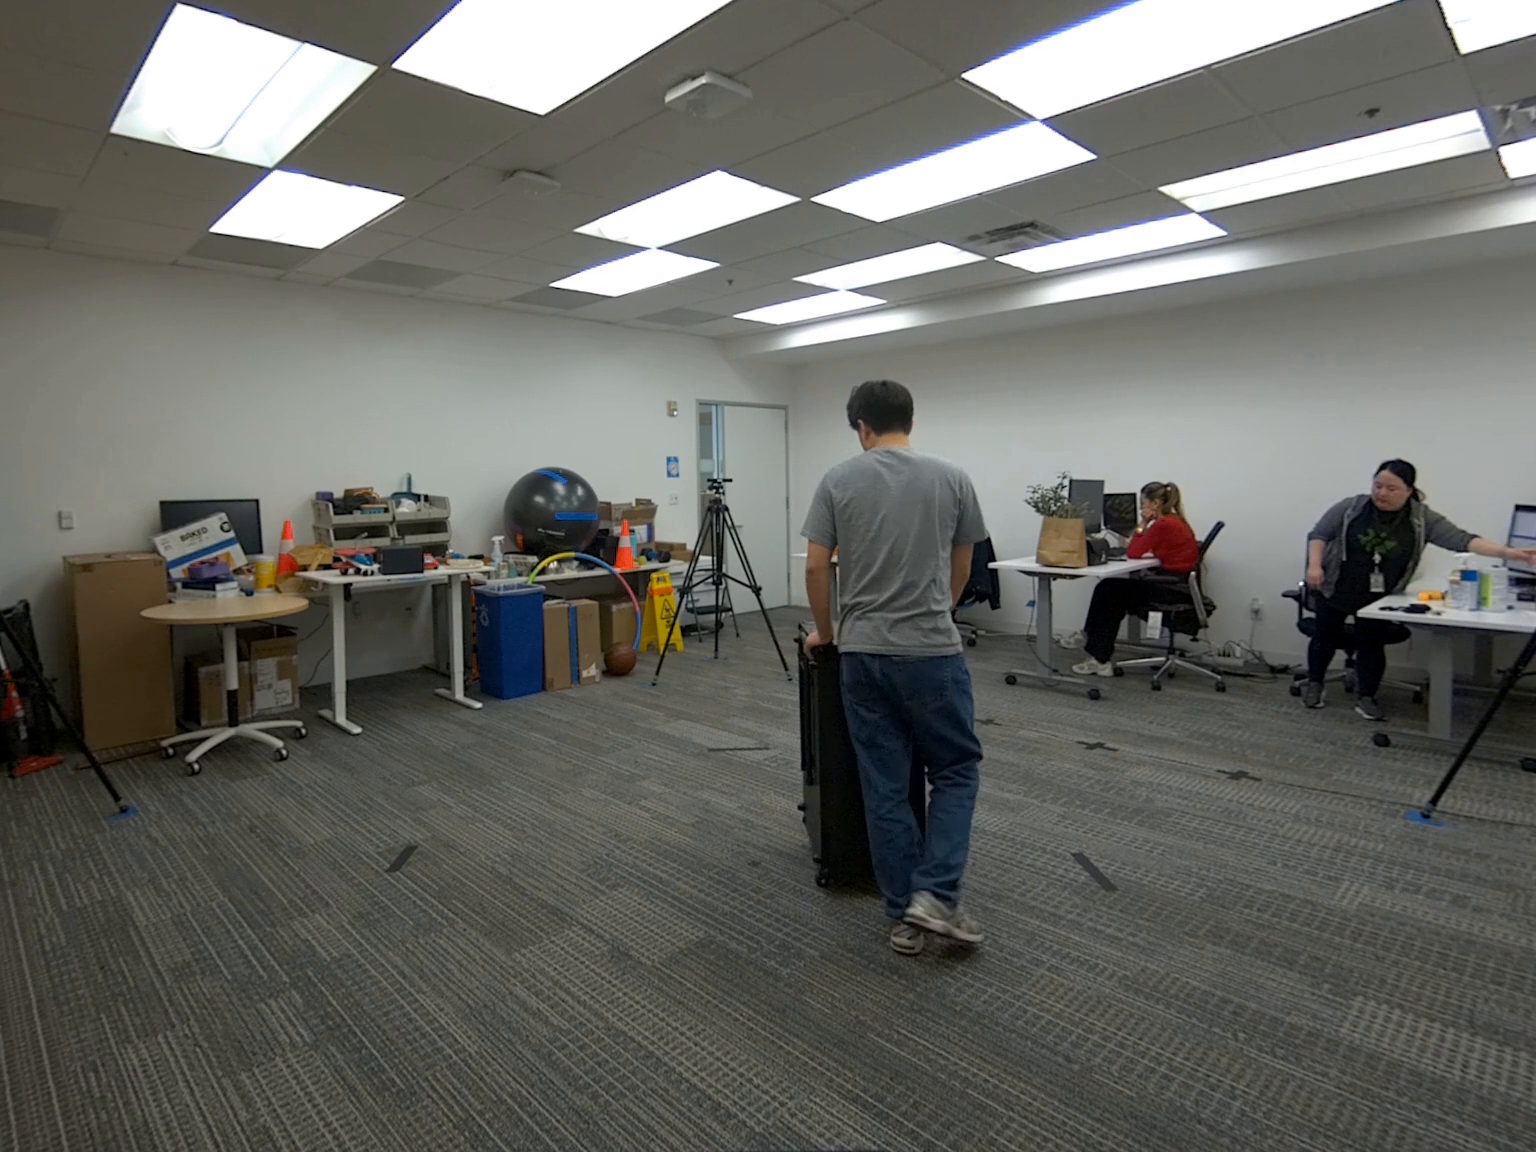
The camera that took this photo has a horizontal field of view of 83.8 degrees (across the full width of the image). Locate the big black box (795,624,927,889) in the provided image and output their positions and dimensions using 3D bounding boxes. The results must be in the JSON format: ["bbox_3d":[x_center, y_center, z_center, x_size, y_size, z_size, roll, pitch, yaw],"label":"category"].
[{"bbox_3d":[0.318,0.629,3.045,0.396,0.859,0.524,-3,3,-3],"label":"big black box"}]
